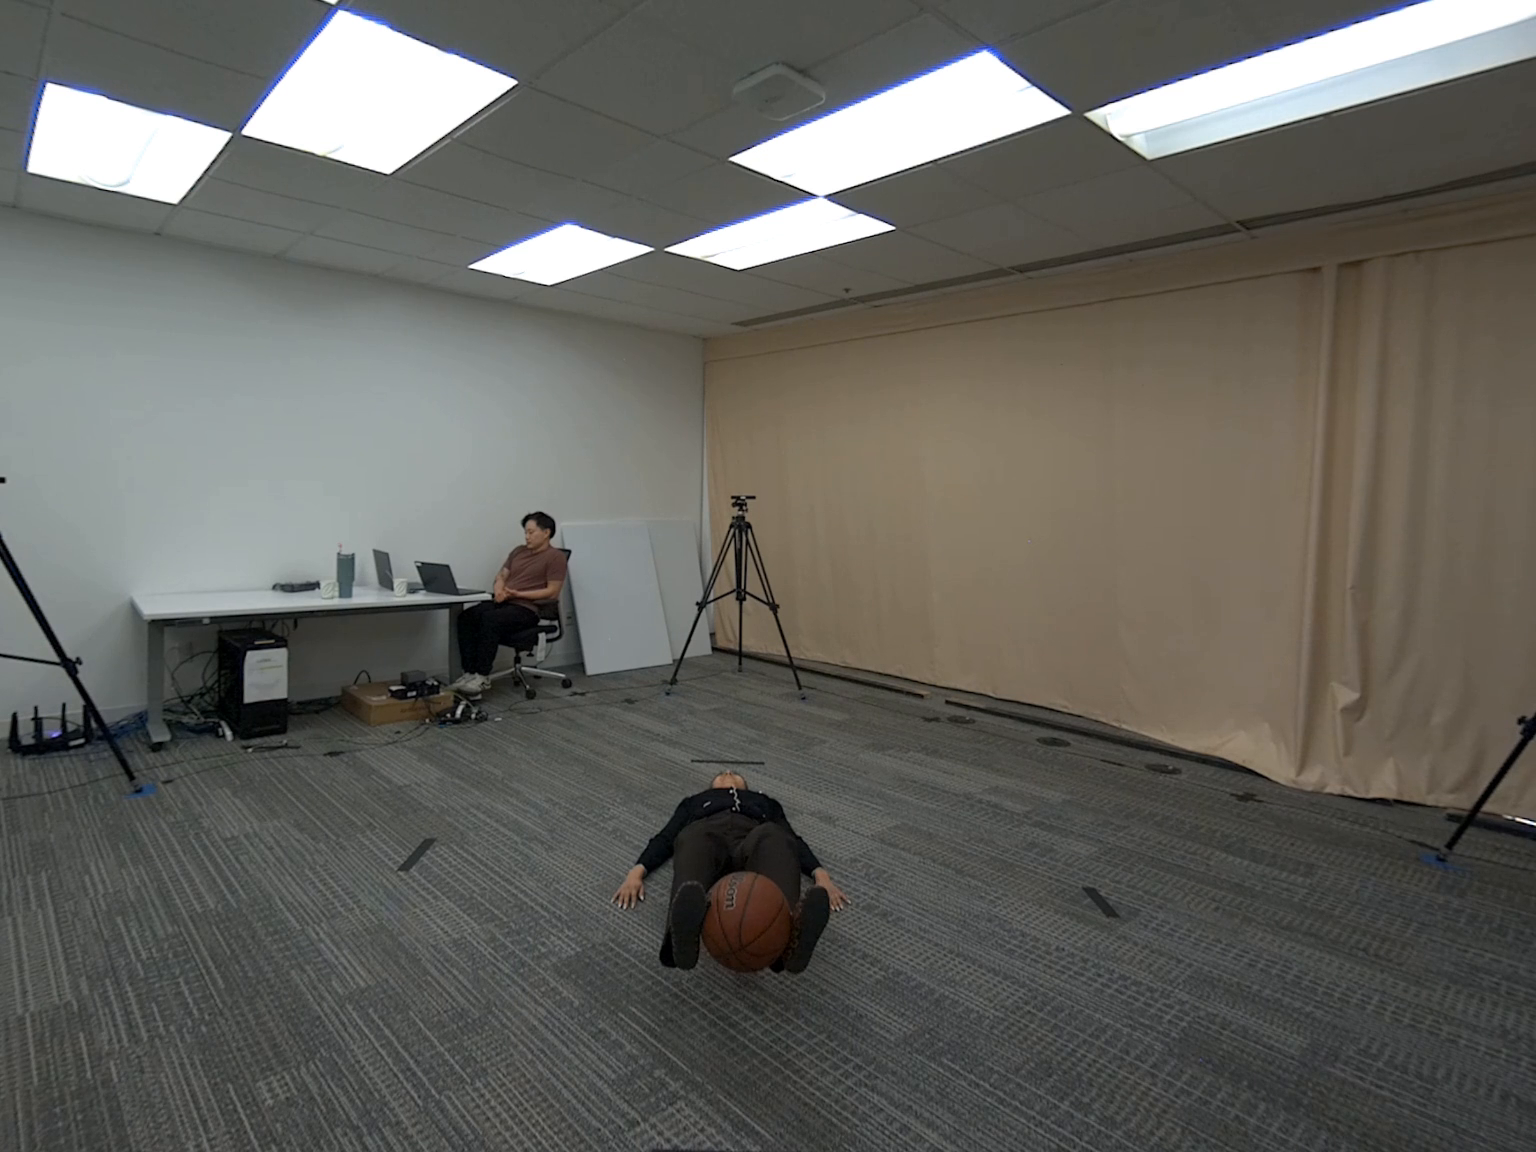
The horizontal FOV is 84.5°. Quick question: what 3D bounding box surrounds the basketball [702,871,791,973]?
[{"bbox_3d":[-0.067,0.886,2.145,0.235,0.235,0.237,4,5,-2],"label":"basketball"}]
